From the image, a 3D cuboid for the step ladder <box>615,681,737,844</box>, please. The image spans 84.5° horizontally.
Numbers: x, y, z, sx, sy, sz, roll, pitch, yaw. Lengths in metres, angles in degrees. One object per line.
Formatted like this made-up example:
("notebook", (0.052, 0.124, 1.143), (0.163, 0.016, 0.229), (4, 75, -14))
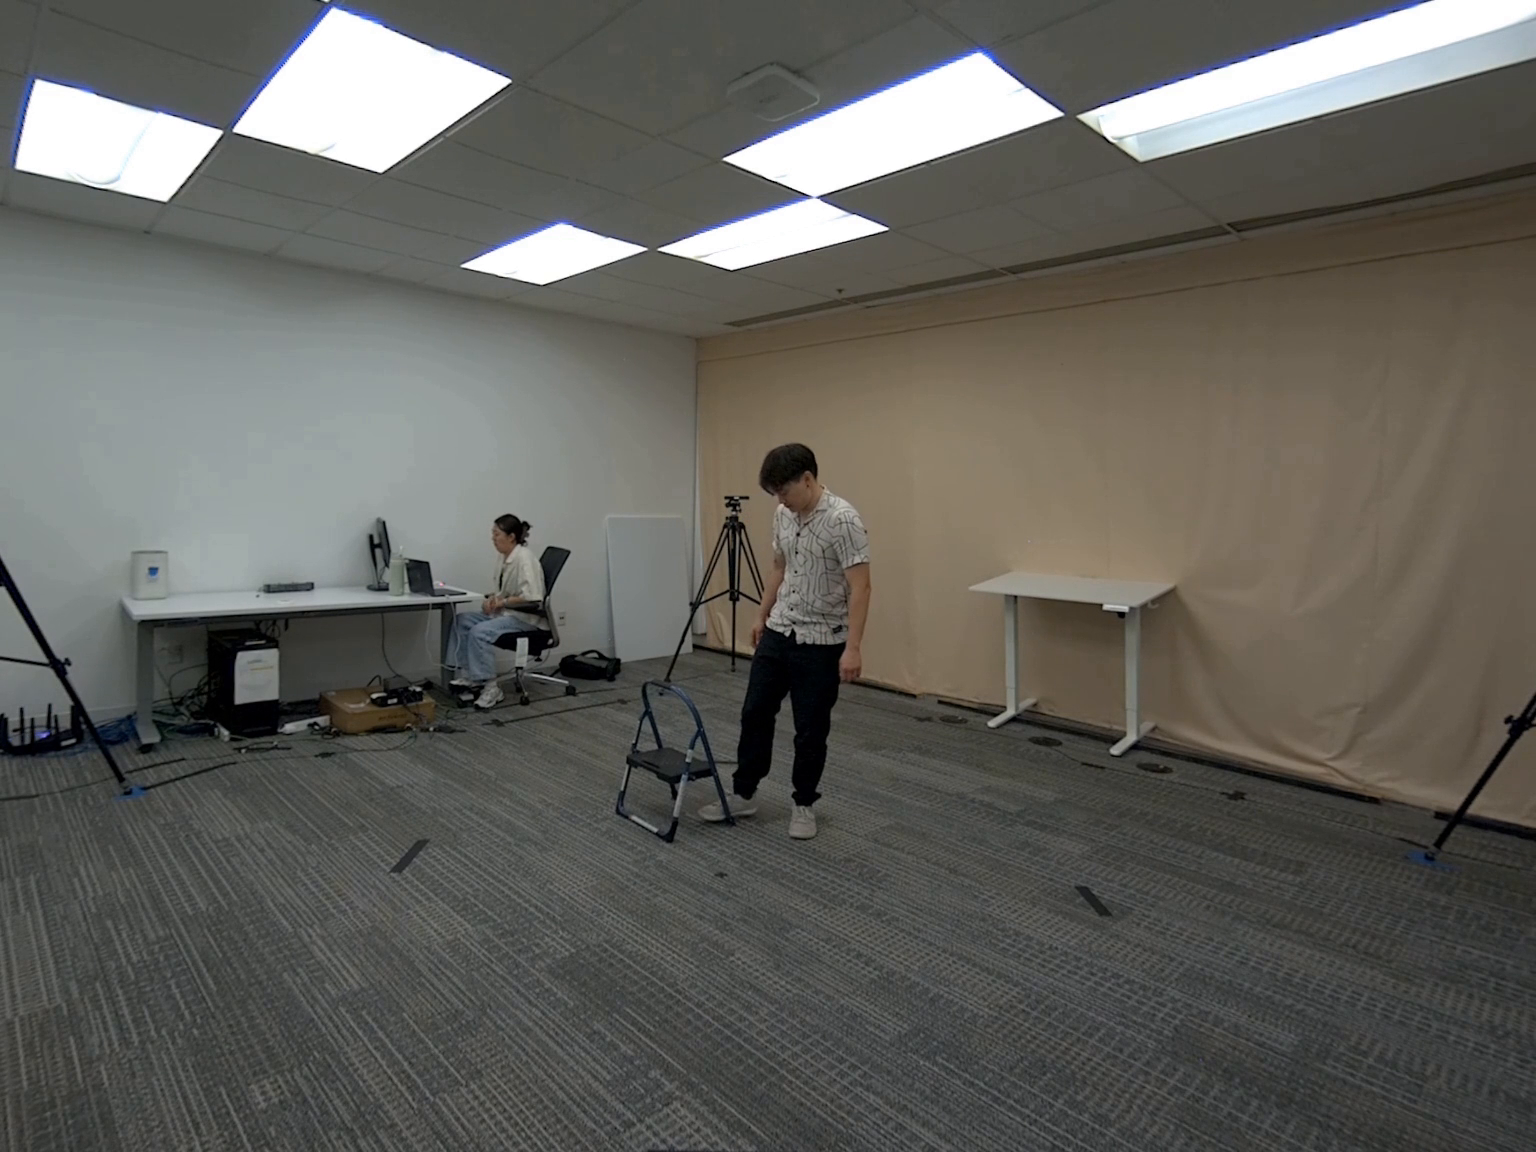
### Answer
("step ladder", (-0.405, 0.750, 3.622), (0.341, 0.605, 0.441), (-1, 3, -41))
